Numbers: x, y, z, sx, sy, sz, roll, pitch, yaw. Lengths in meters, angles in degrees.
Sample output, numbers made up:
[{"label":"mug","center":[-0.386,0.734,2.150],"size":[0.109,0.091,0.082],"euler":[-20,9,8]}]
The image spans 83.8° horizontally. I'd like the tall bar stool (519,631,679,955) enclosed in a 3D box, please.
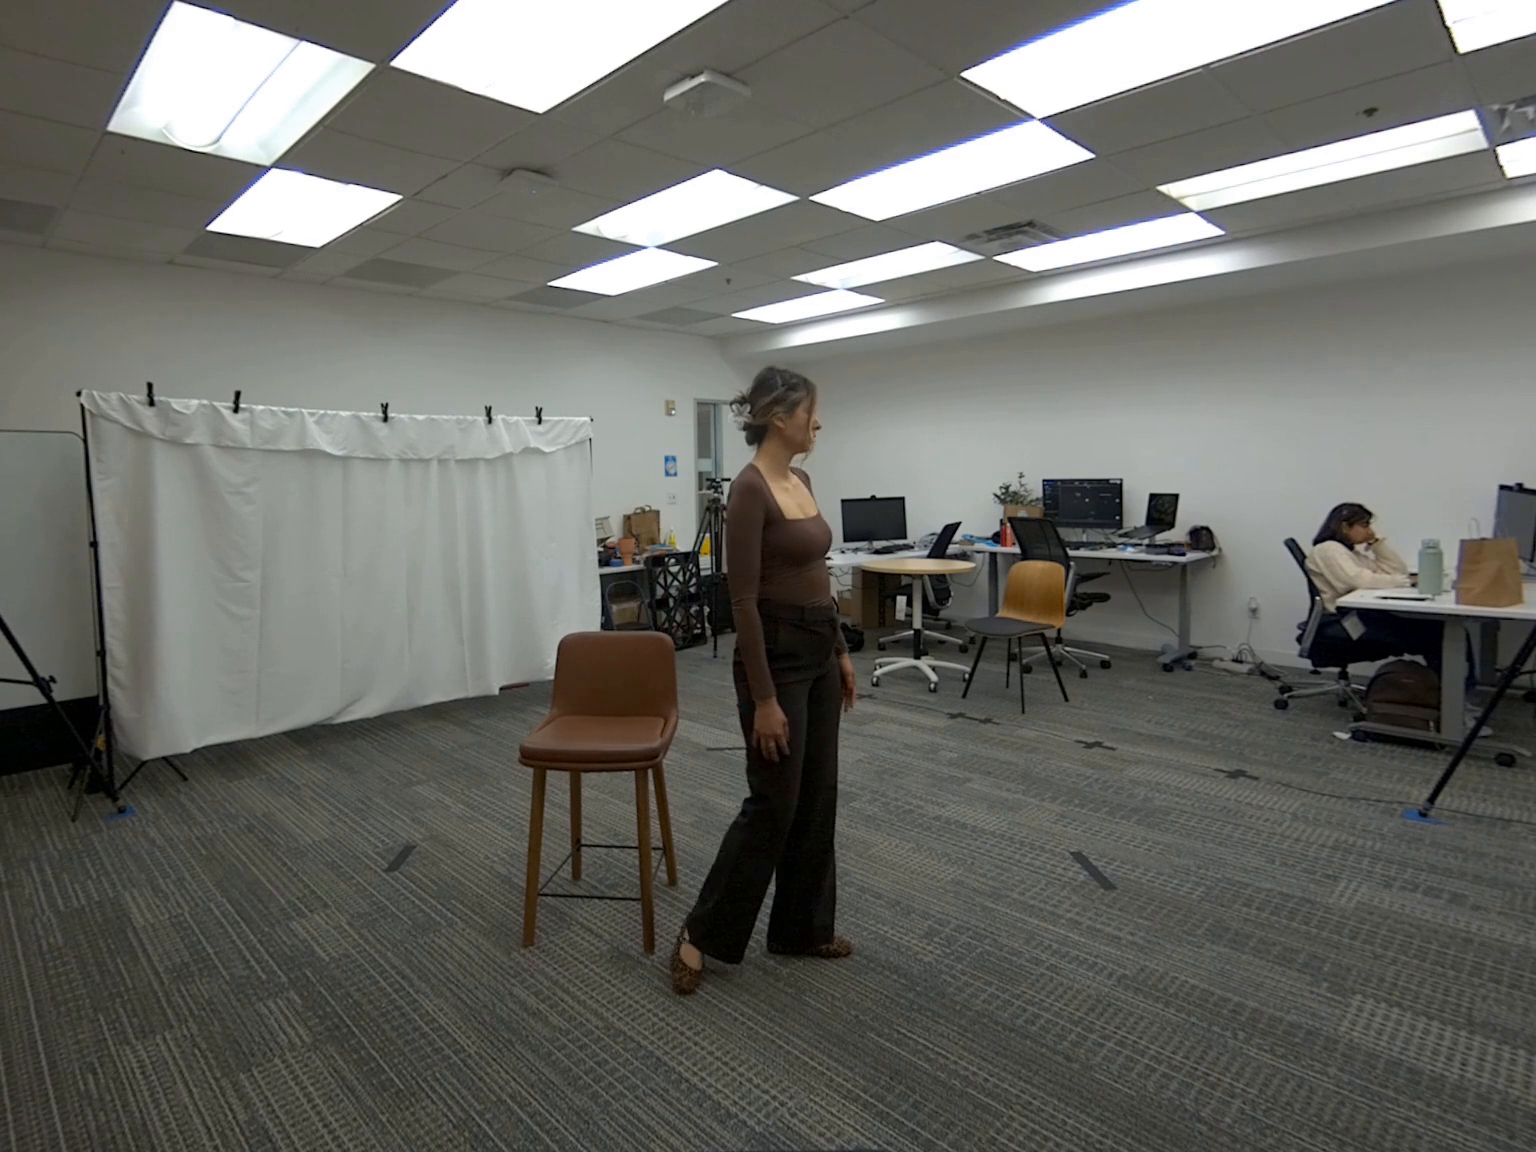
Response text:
[{"label":"tall bar stool","center":[-0.529,0.661,2.748],"size":[0.460,0.887,0.465],"euler":[0,3,8]}]
